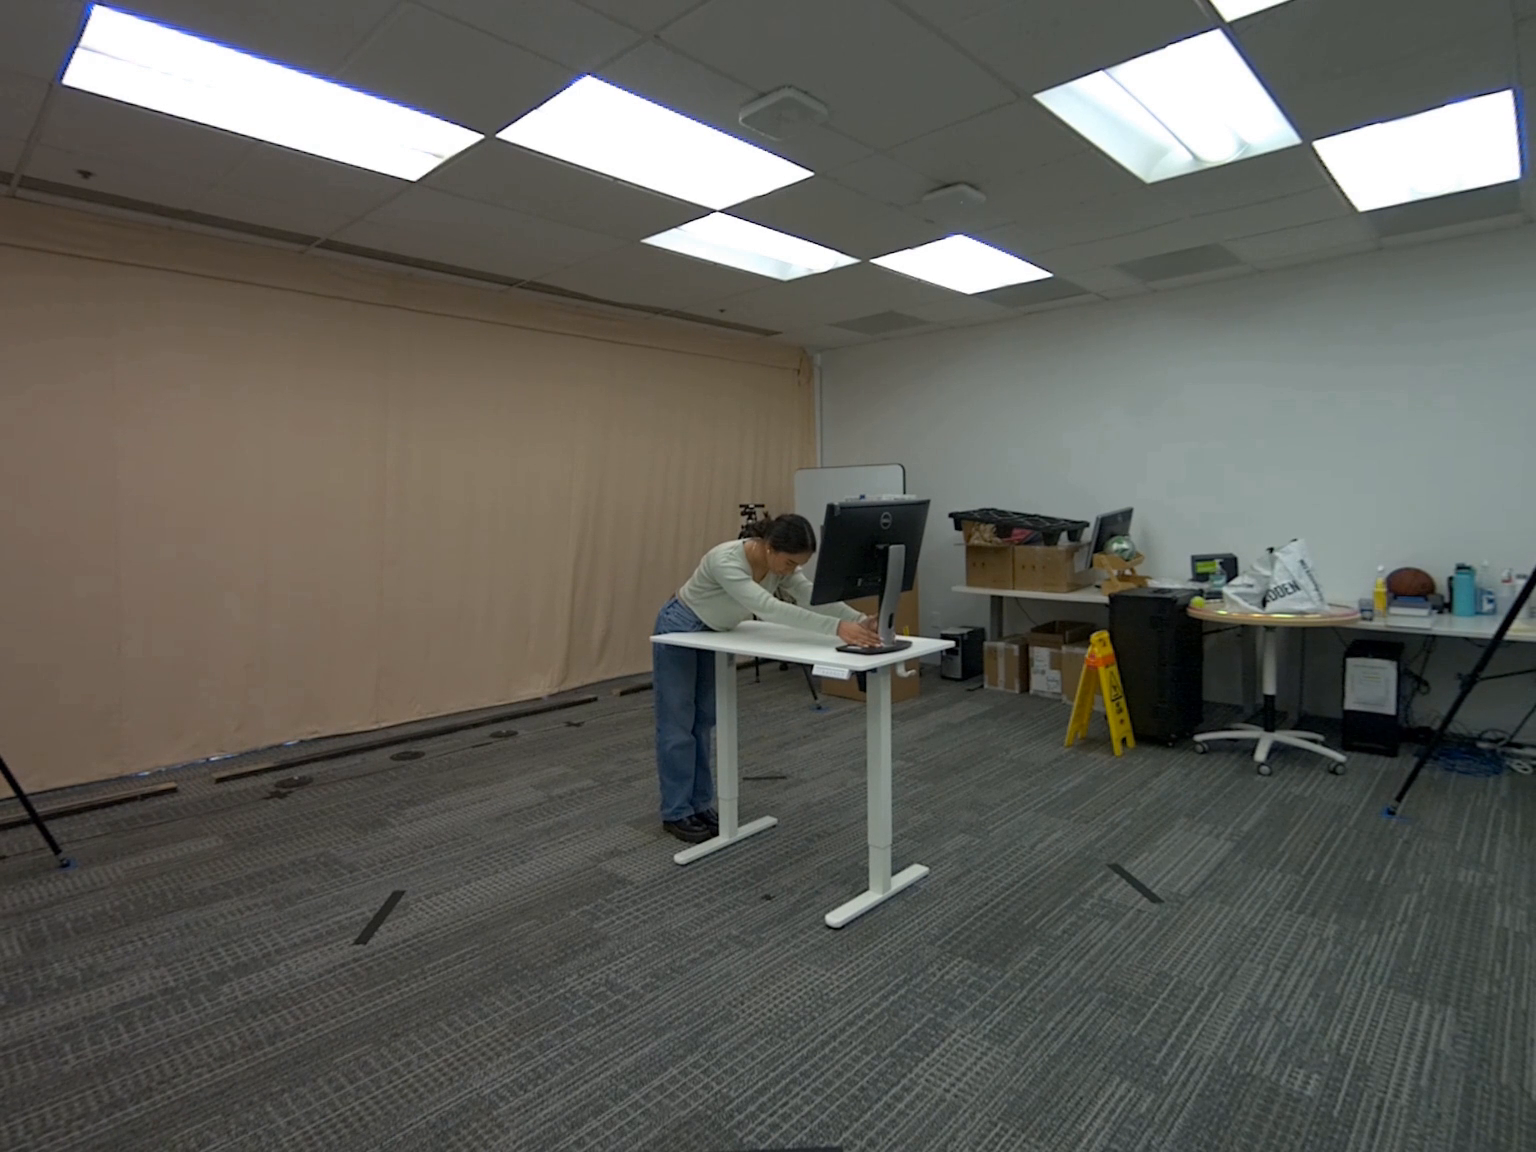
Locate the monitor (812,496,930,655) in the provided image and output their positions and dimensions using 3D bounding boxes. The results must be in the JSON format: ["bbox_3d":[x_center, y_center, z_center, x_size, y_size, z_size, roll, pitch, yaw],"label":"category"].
[{"bbox_3d":[0.401,0.000,2.912,0.523,0.520,0.193,-6,8,-43],"label":"monitor"}]
